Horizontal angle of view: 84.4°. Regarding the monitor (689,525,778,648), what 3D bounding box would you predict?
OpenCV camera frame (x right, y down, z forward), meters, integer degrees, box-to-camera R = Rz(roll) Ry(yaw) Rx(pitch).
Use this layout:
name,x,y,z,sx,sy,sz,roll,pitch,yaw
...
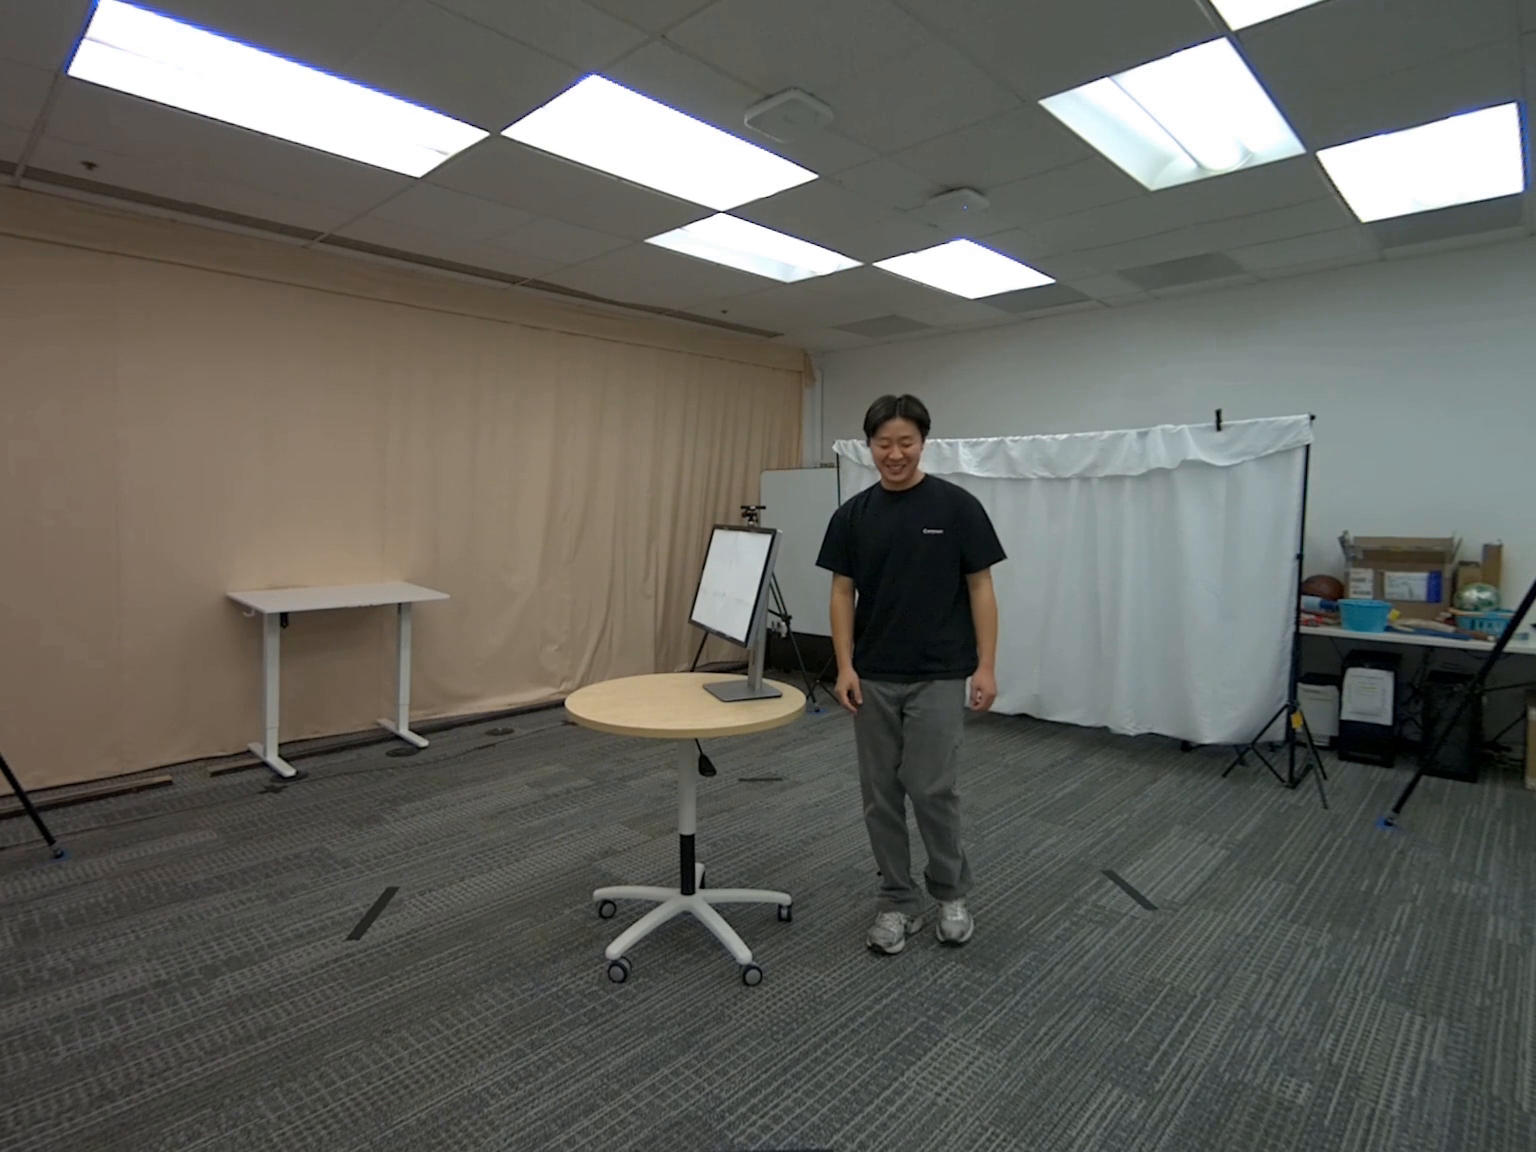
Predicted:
name,x,y,z,sx,sy,sz,roll,pitch,yaw
monitor,-0.086,0.121,2.753,0.218,0.565,0.574,-2,4,-21
